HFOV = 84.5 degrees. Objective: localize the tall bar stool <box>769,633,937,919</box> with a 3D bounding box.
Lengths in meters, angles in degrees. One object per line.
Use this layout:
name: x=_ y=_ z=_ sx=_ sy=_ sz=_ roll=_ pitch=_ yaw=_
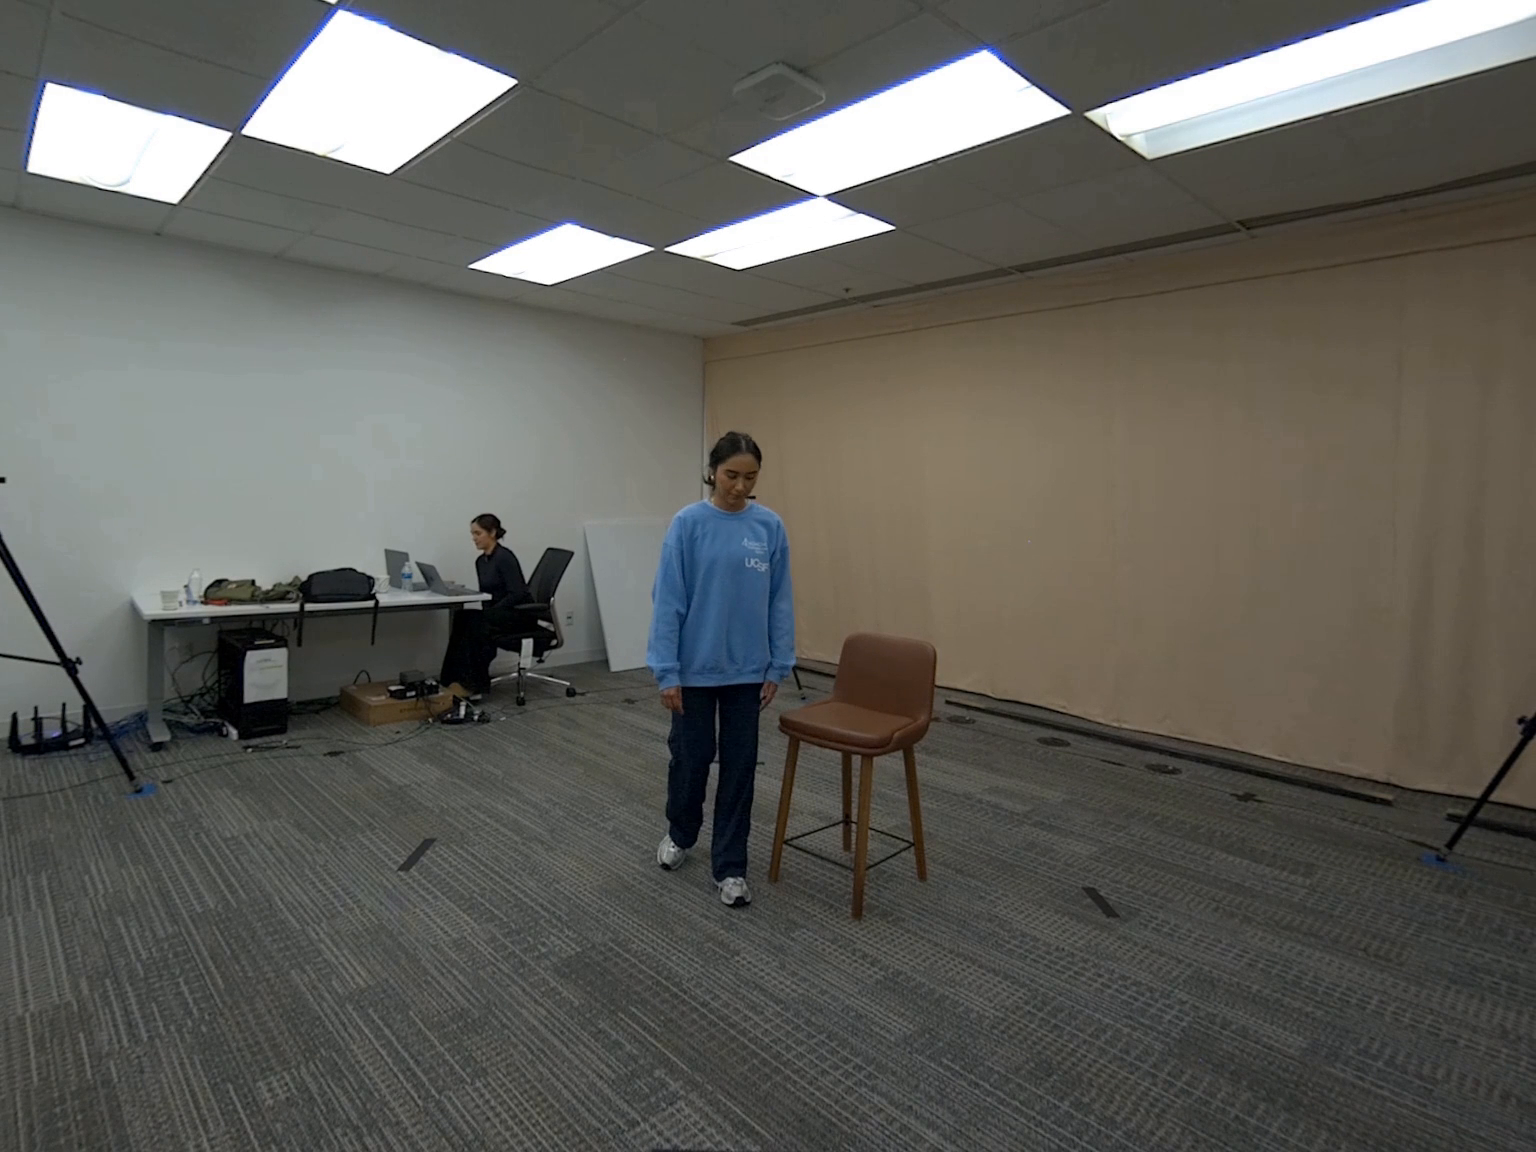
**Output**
tall bar stool: x=0.312 y=0.681 z=3.058 sx=0.468 sy=0.889 sz=0.456 roll=5 pitch=3 yaw=44
